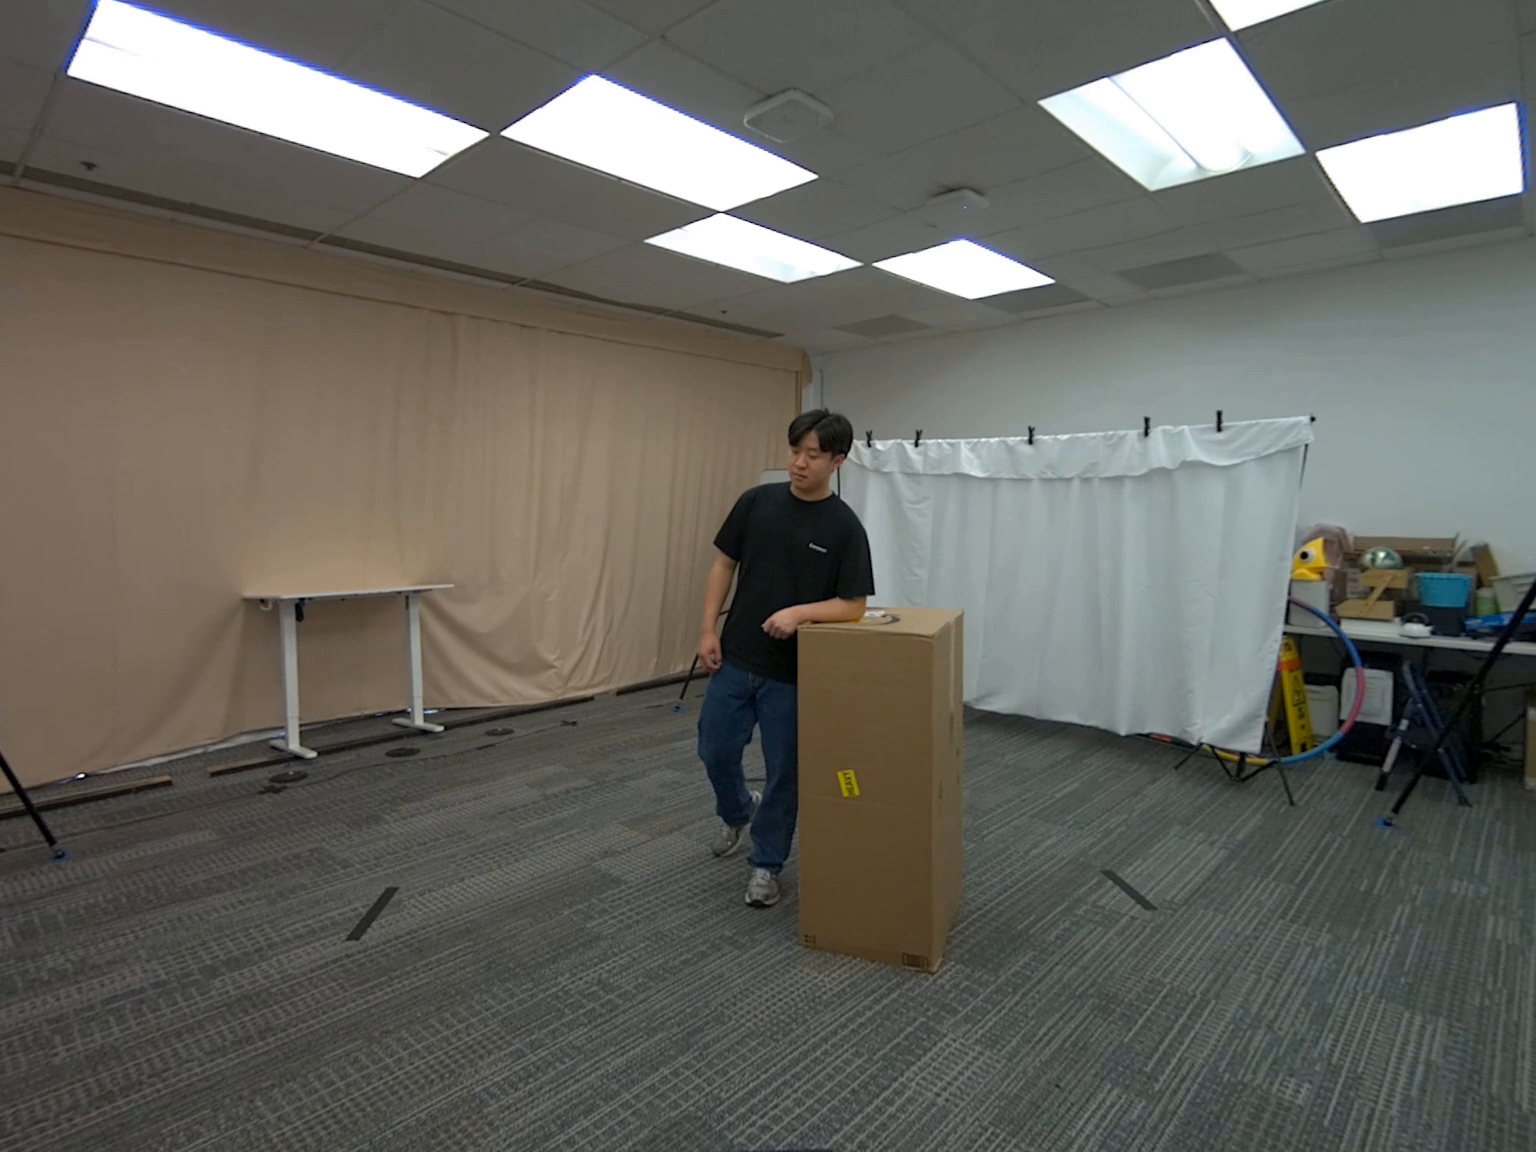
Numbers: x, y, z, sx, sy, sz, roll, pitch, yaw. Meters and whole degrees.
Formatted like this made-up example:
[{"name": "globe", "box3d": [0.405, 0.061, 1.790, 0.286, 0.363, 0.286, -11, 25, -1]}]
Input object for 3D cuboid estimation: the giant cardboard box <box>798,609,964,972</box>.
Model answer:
[{"name": "giant cardboard box", "box3d": [0.400, 0.645, 2.812, 0.458, 1.025, 0.571, 0, 4, 24]}]
